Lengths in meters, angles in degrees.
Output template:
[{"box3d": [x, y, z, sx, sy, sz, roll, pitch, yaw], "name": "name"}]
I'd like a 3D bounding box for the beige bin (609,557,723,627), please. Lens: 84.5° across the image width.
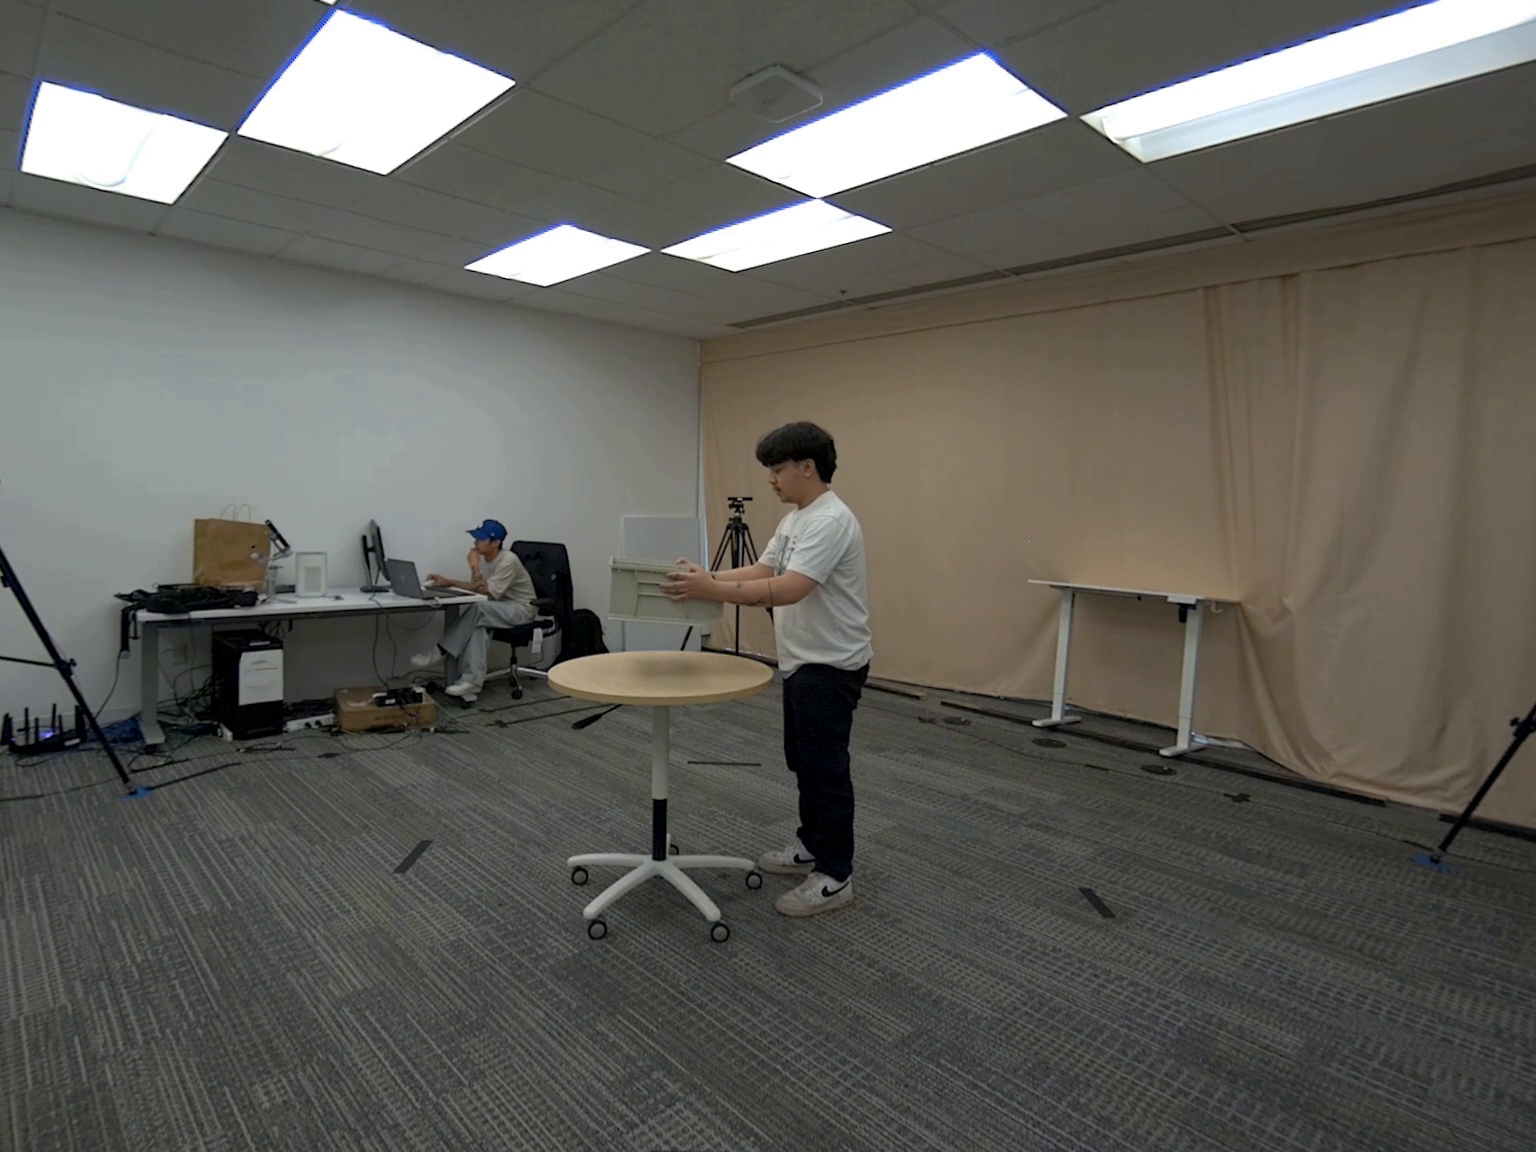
[{"box3d": [-0.370, 0.066, 2.889, 0.374, 0.188, 0.427, 3, 6, -10], "name": "beige bin"}]
